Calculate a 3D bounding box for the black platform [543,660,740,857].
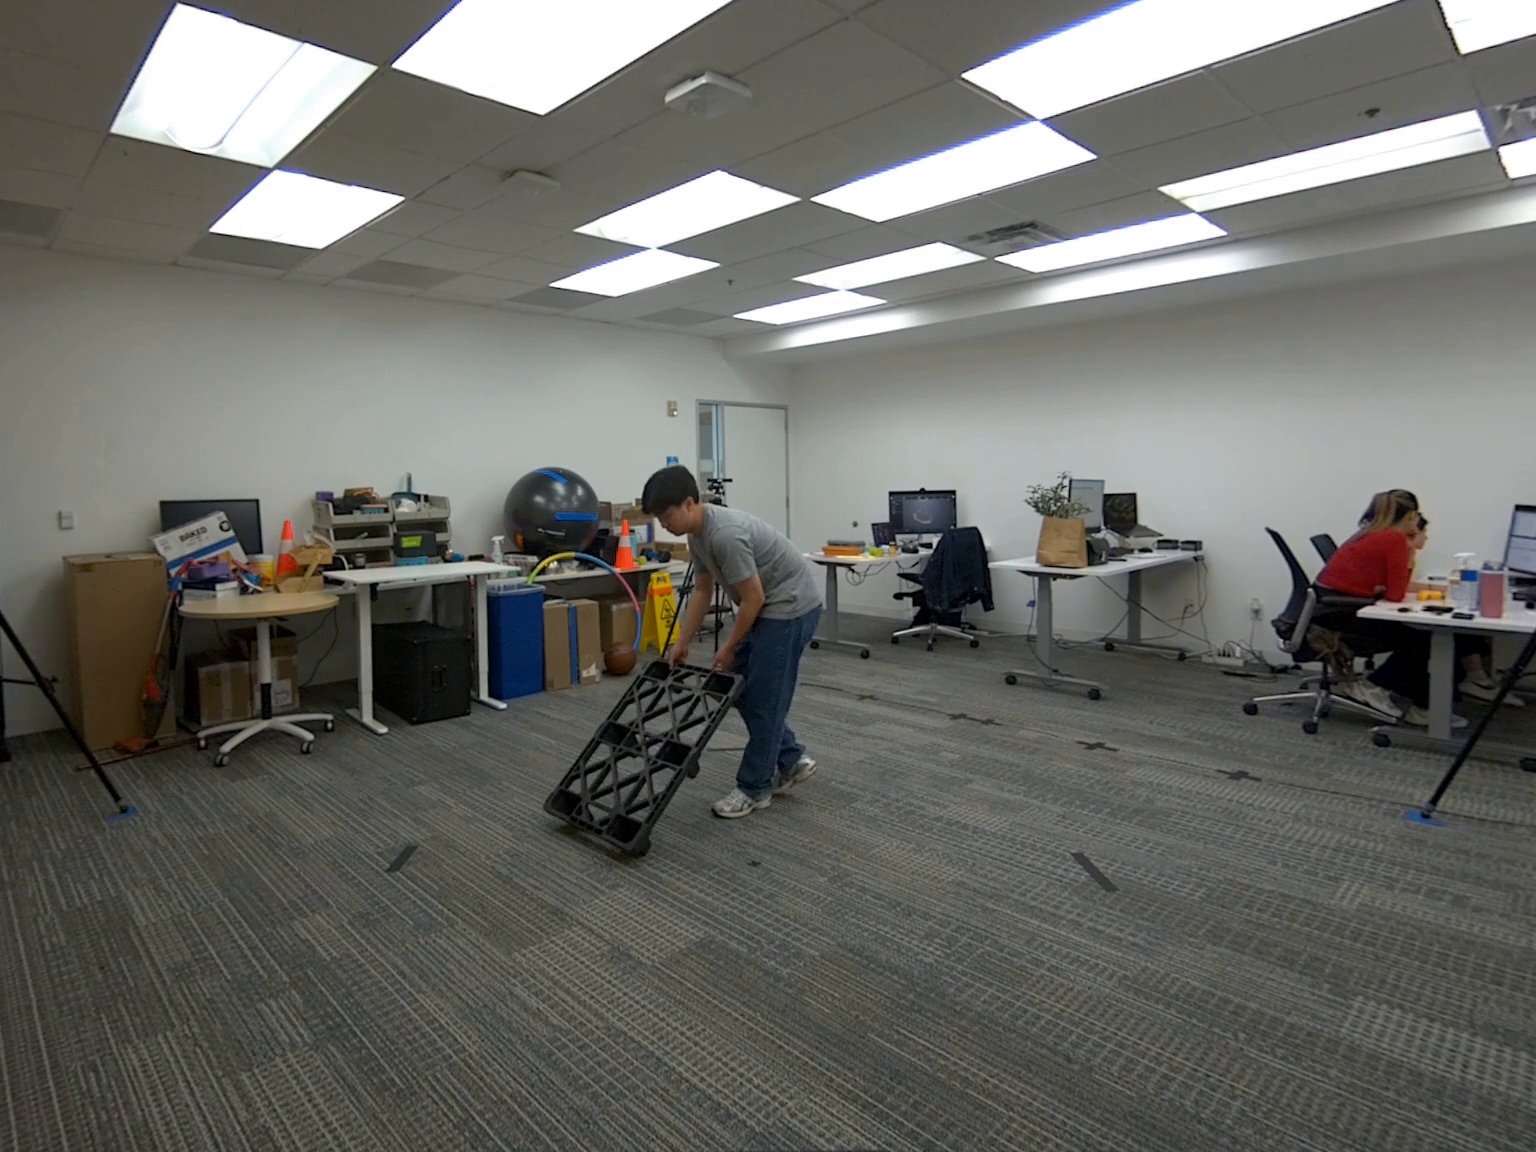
[{"bbox_3d":[-0.473,0.710,3.488,0.624,0.138,0.809,5,51,43],"label":"black platform"}]
